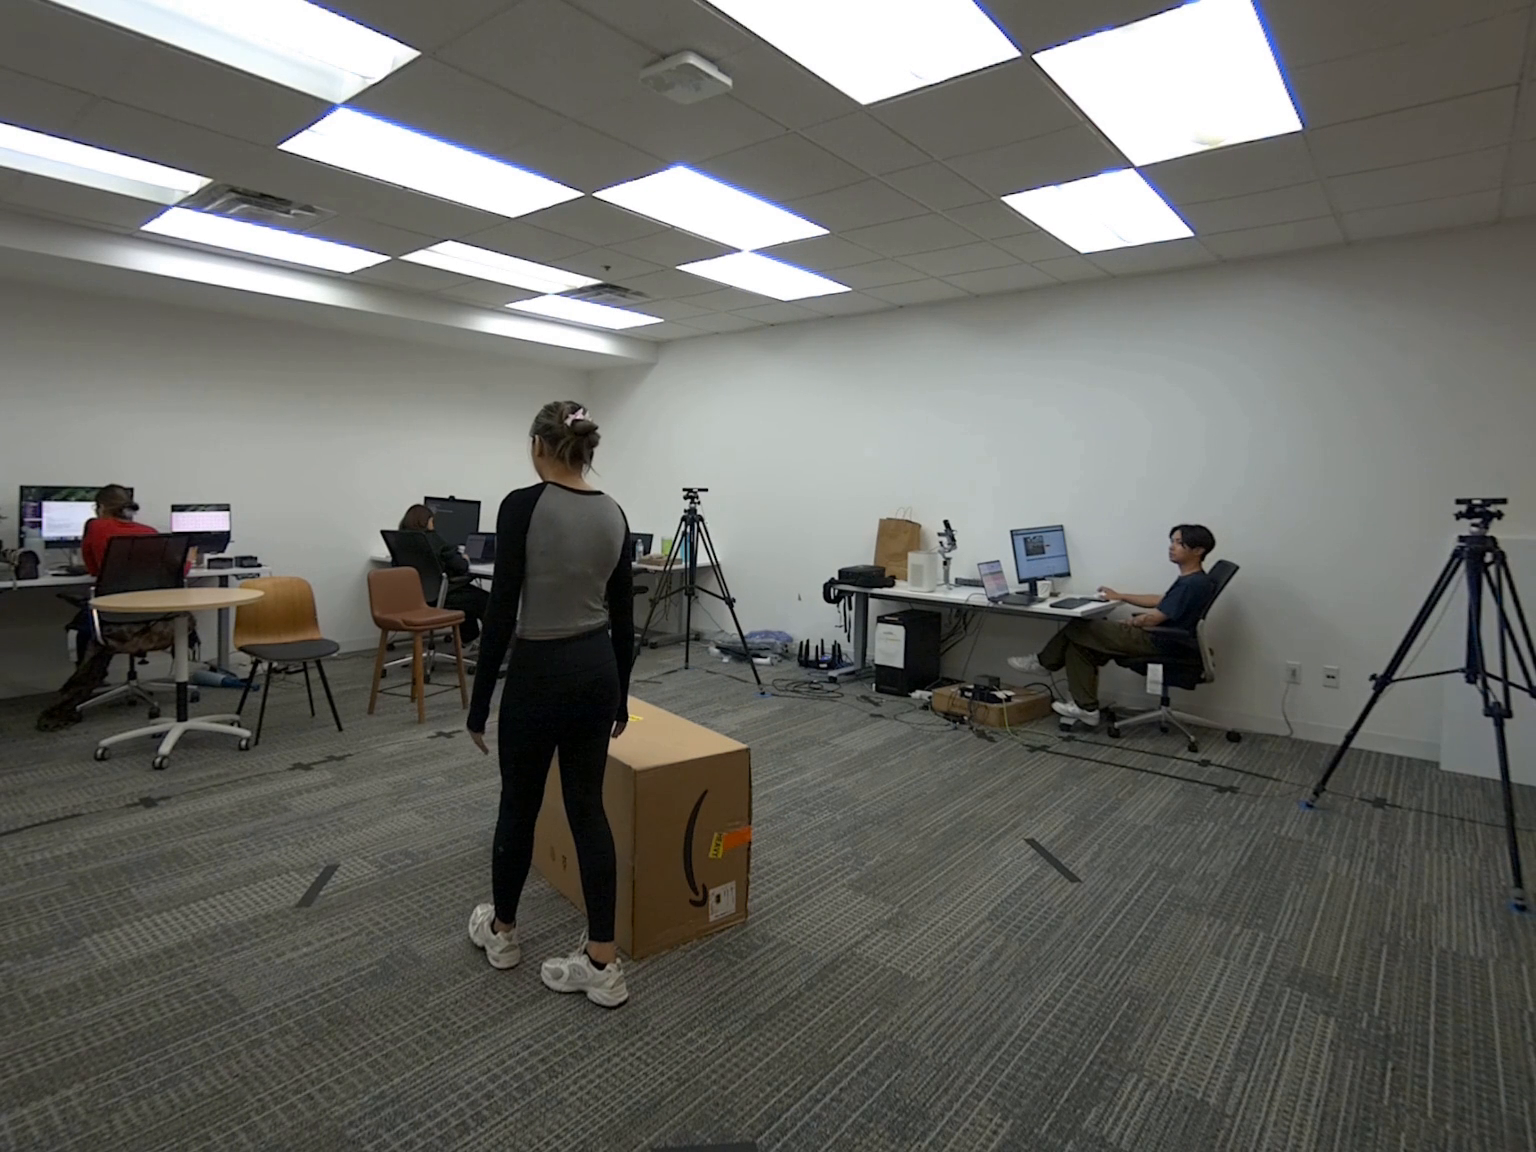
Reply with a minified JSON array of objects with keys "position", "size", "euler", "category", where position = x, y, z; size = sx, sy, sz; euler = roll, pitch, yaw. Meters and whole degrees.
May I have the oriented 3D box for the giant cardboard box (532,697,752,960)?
[{"position":[-0.545,0.786,3.011],"size":[0.414,0.575,1.060],"euler":[-2,6,-37],"category":"giant cardboard box"}]
